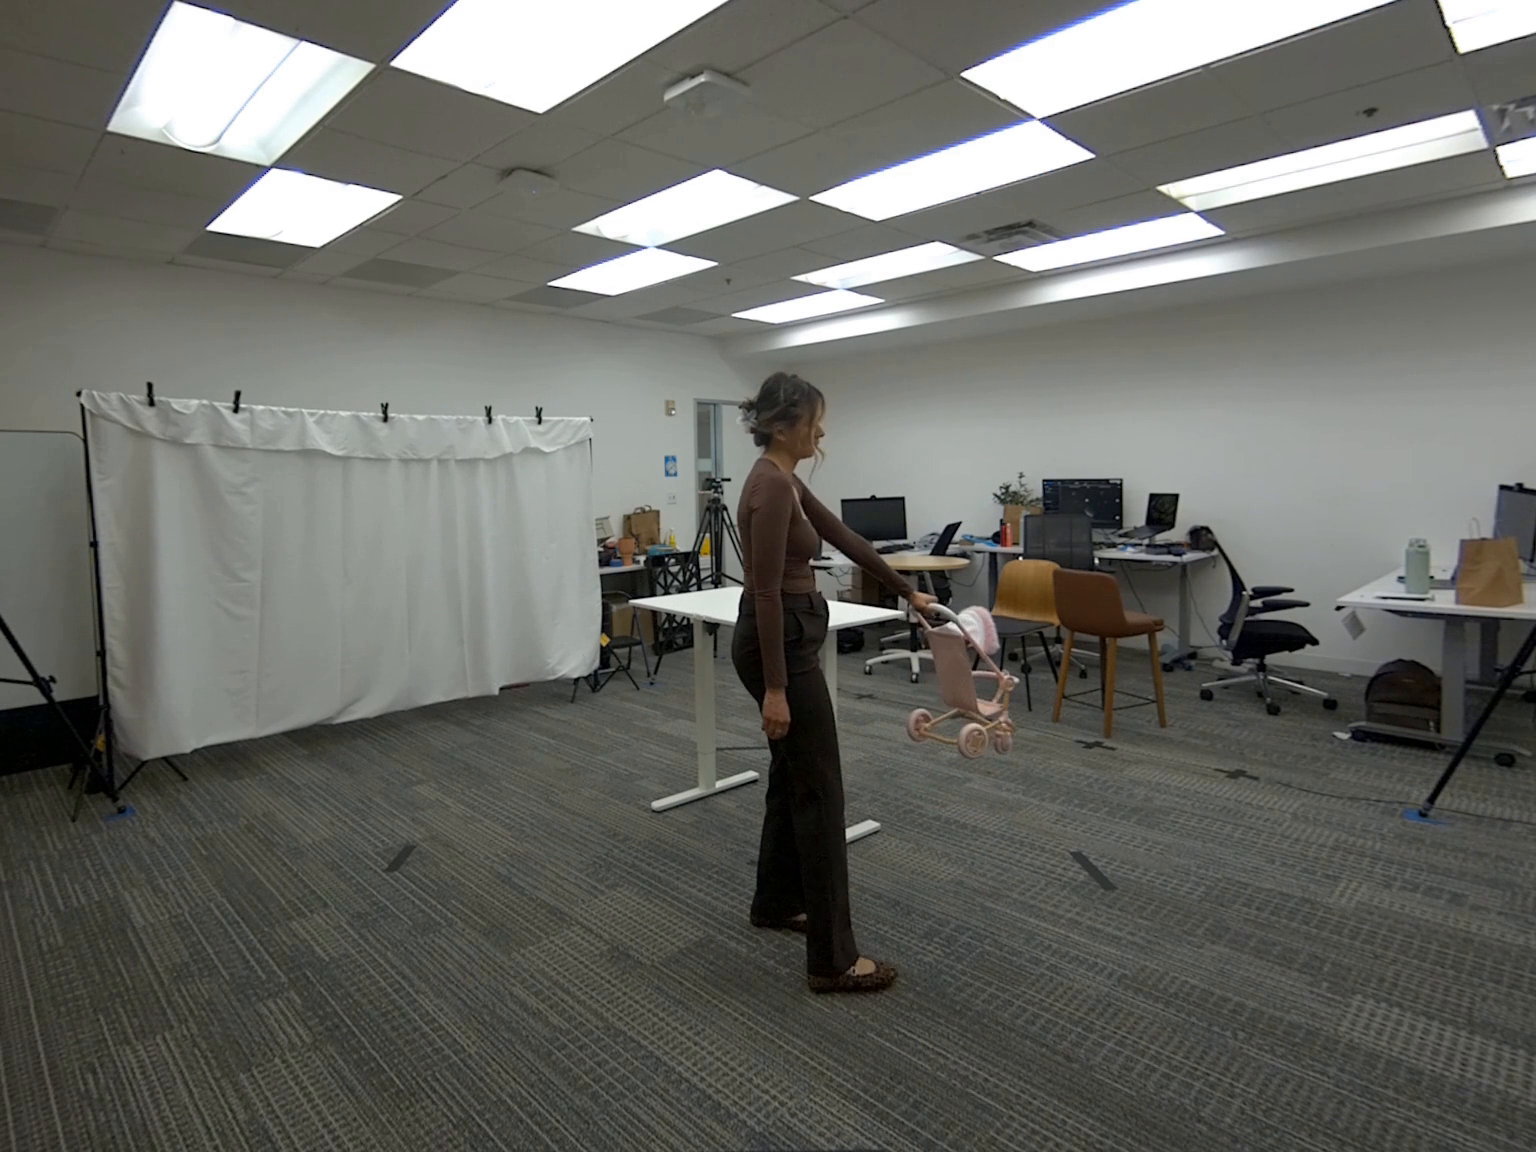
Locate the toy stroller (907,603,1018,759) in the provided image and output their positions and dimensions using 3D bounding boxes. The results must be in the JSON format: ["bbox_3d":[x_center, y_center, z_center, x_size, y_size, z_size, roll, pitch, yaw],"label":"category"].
[{"bbox_3d":[0.663,0.344,2.794,0.335,0.535,0.287,-5,1,-24],"label":"toy stroller"}]
